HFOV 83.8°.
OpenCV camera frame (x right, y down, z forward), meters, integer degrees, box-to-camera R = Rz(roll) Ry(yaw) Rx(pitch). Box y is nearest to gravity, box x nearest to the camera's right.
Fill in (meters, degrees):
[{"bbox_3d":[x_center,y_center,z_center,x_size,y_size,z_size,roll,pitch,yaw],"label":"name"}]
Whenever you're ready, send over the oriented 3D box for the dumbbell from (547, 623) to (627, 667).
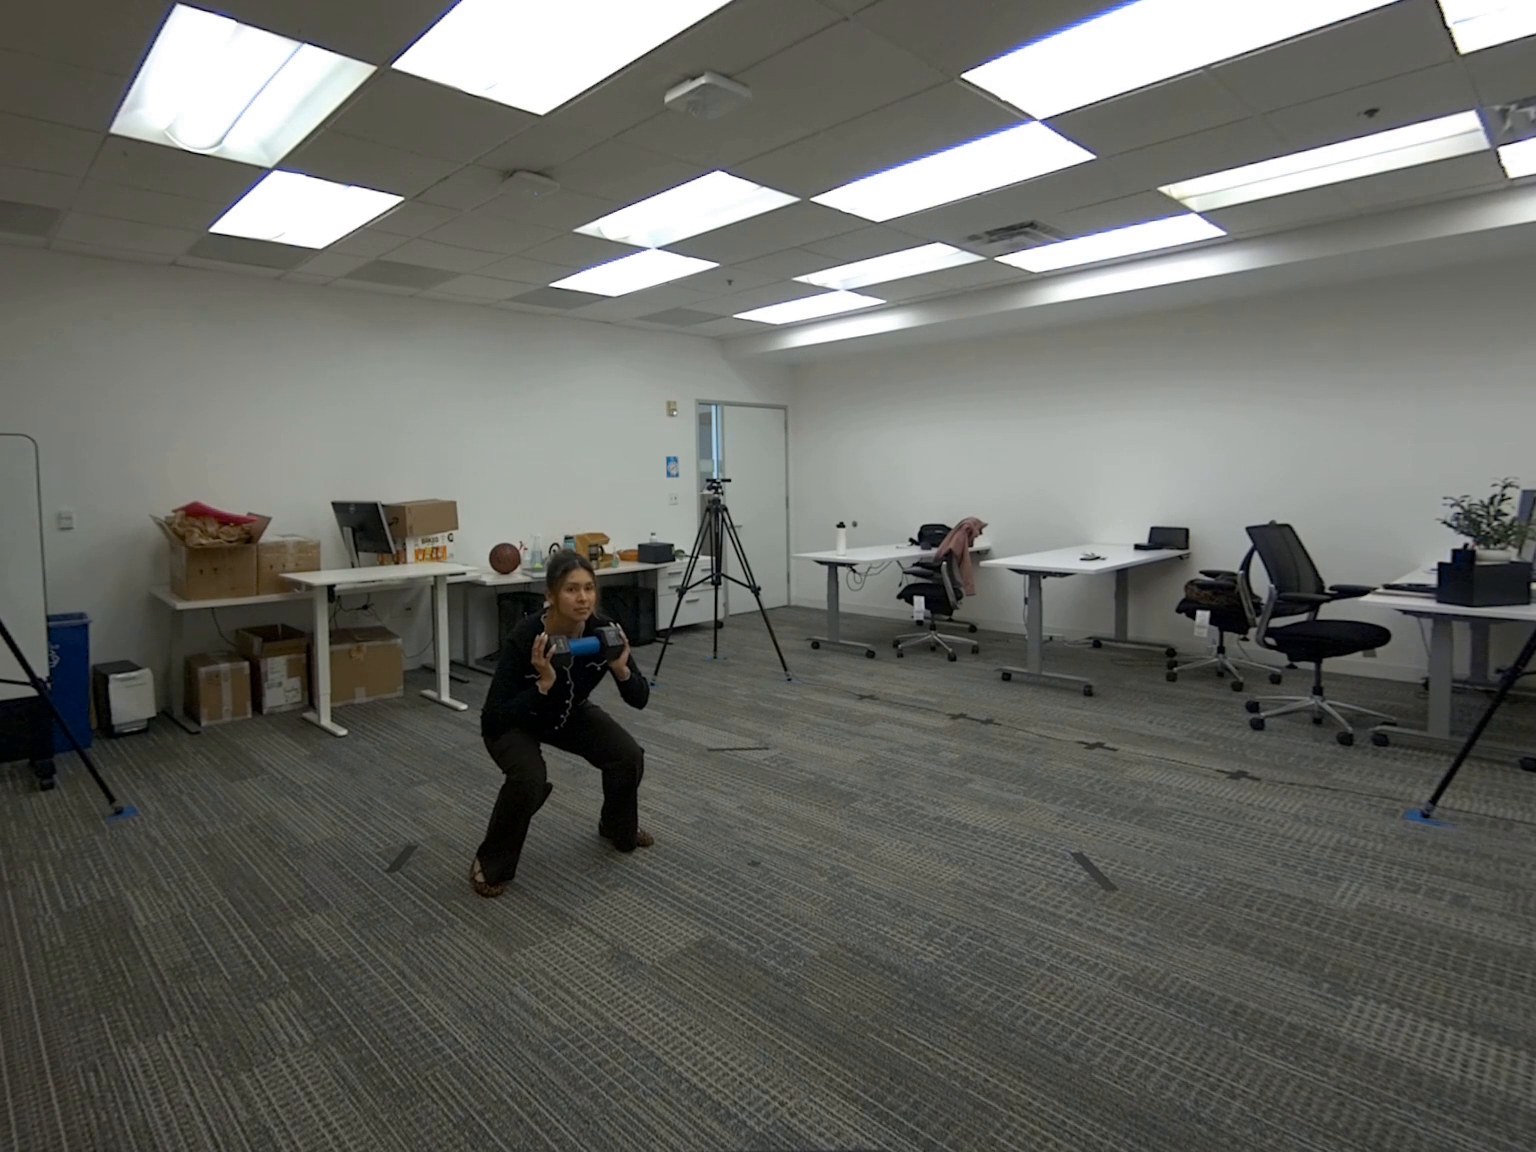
[{"bbox_3d":[-0.661,0.236,2.940,0.286,0.126,0.109,-5,-27,-40],"label":"dumbbell"}]
